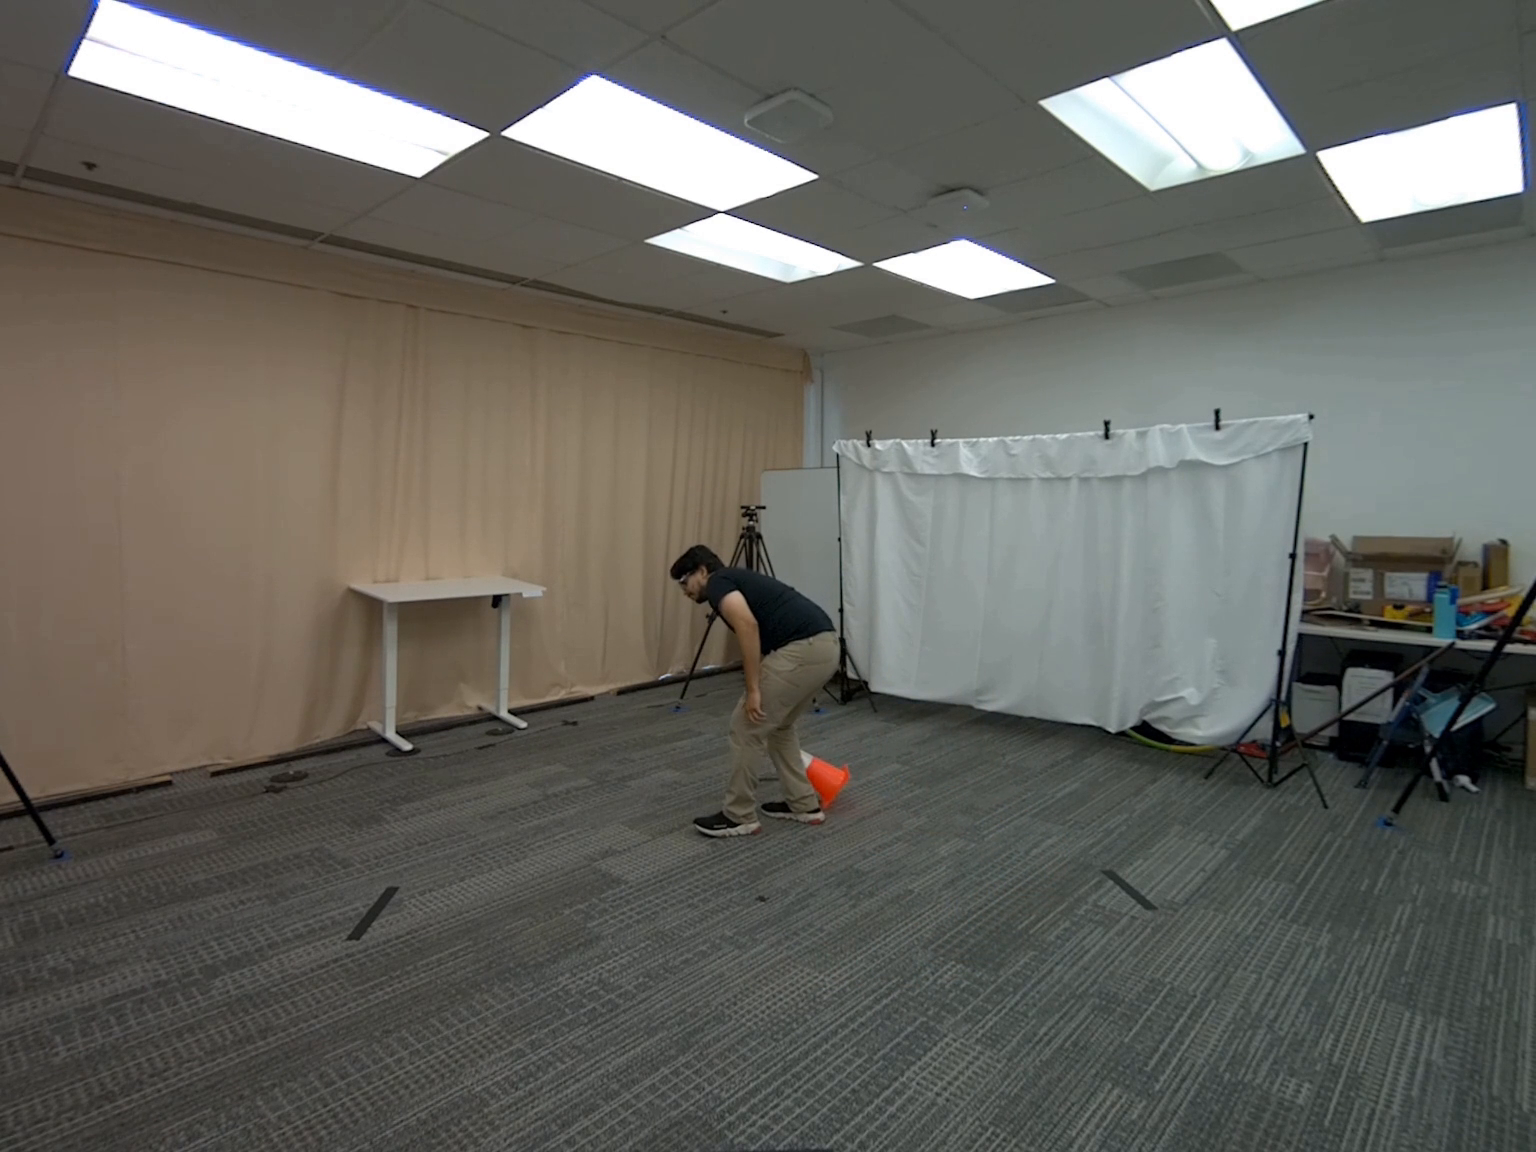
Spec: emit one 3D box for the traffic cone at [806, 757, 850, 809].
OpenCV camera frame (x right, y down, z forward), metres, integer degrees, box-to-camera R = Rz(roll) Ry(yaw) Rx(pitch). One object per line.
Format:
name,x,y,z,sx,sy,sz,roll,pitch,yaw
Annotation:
traffic cone,0.170,0.871,3.949,0.384,0.205,0.203,37,1,1
